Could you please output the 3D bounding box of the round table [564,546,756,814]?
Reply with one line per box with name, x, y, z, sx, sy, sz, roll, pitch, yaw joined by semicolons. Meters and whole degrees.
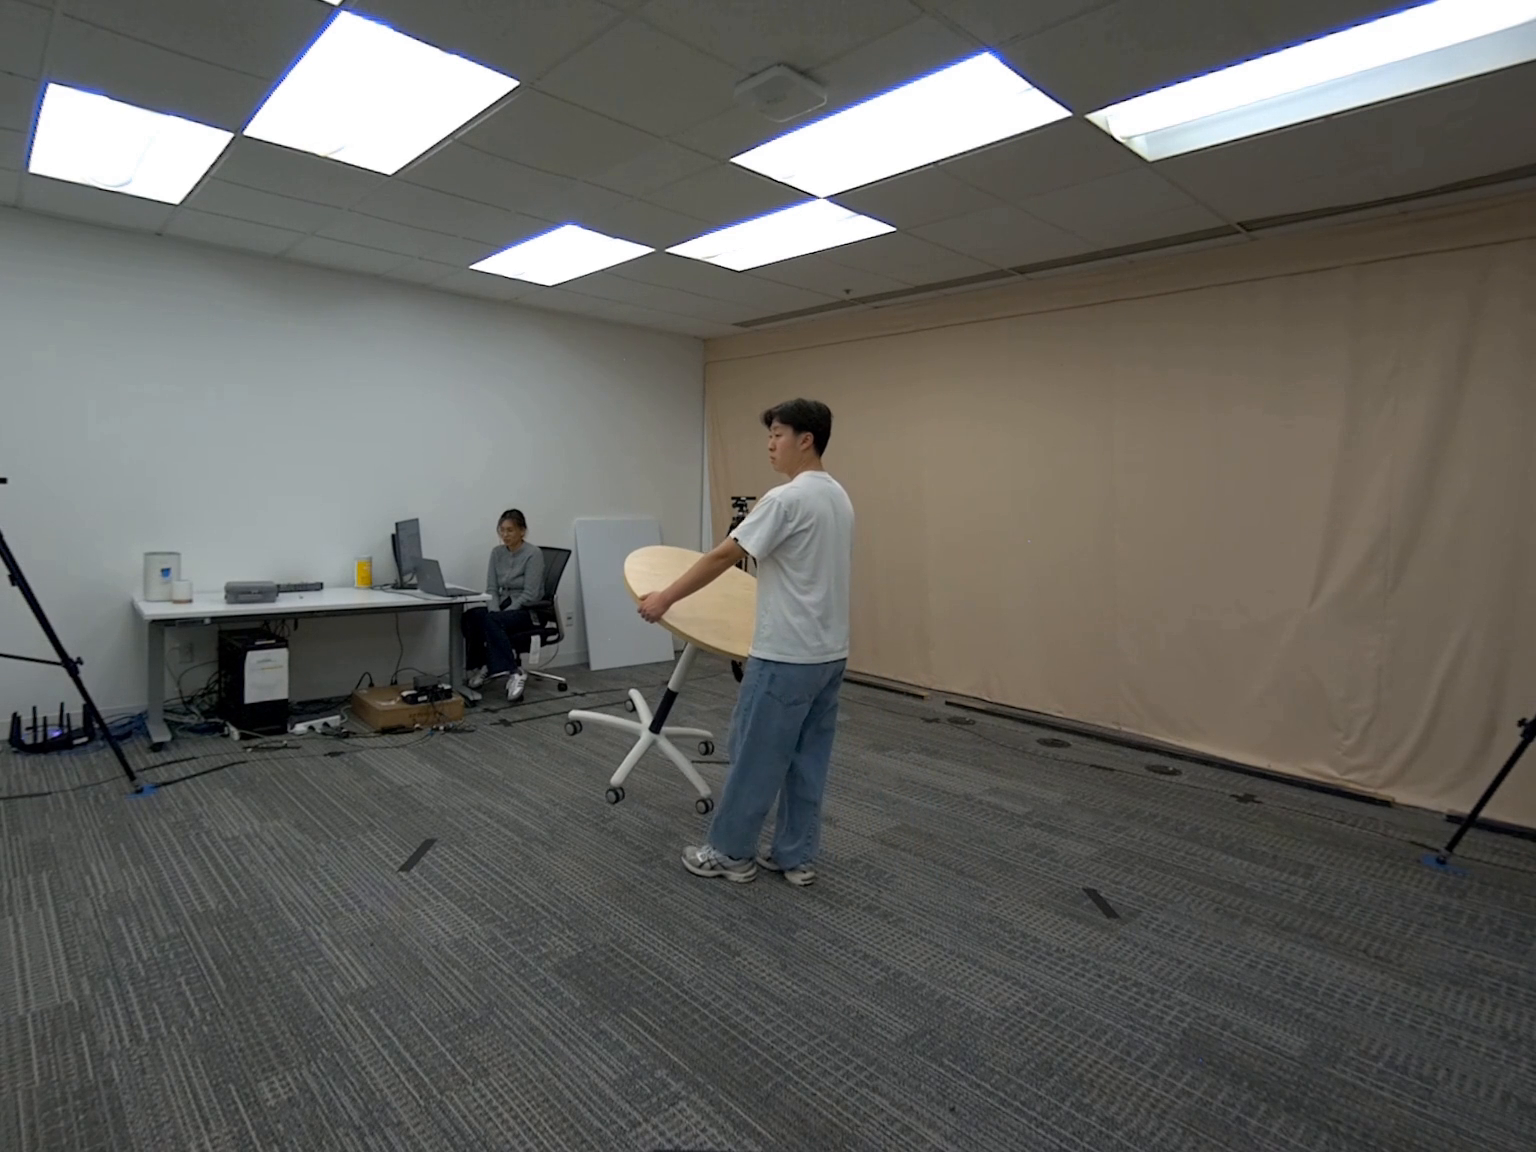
round table;-0.374;0.426;3.399;0.757;0.789;0.776;22;21;-10
